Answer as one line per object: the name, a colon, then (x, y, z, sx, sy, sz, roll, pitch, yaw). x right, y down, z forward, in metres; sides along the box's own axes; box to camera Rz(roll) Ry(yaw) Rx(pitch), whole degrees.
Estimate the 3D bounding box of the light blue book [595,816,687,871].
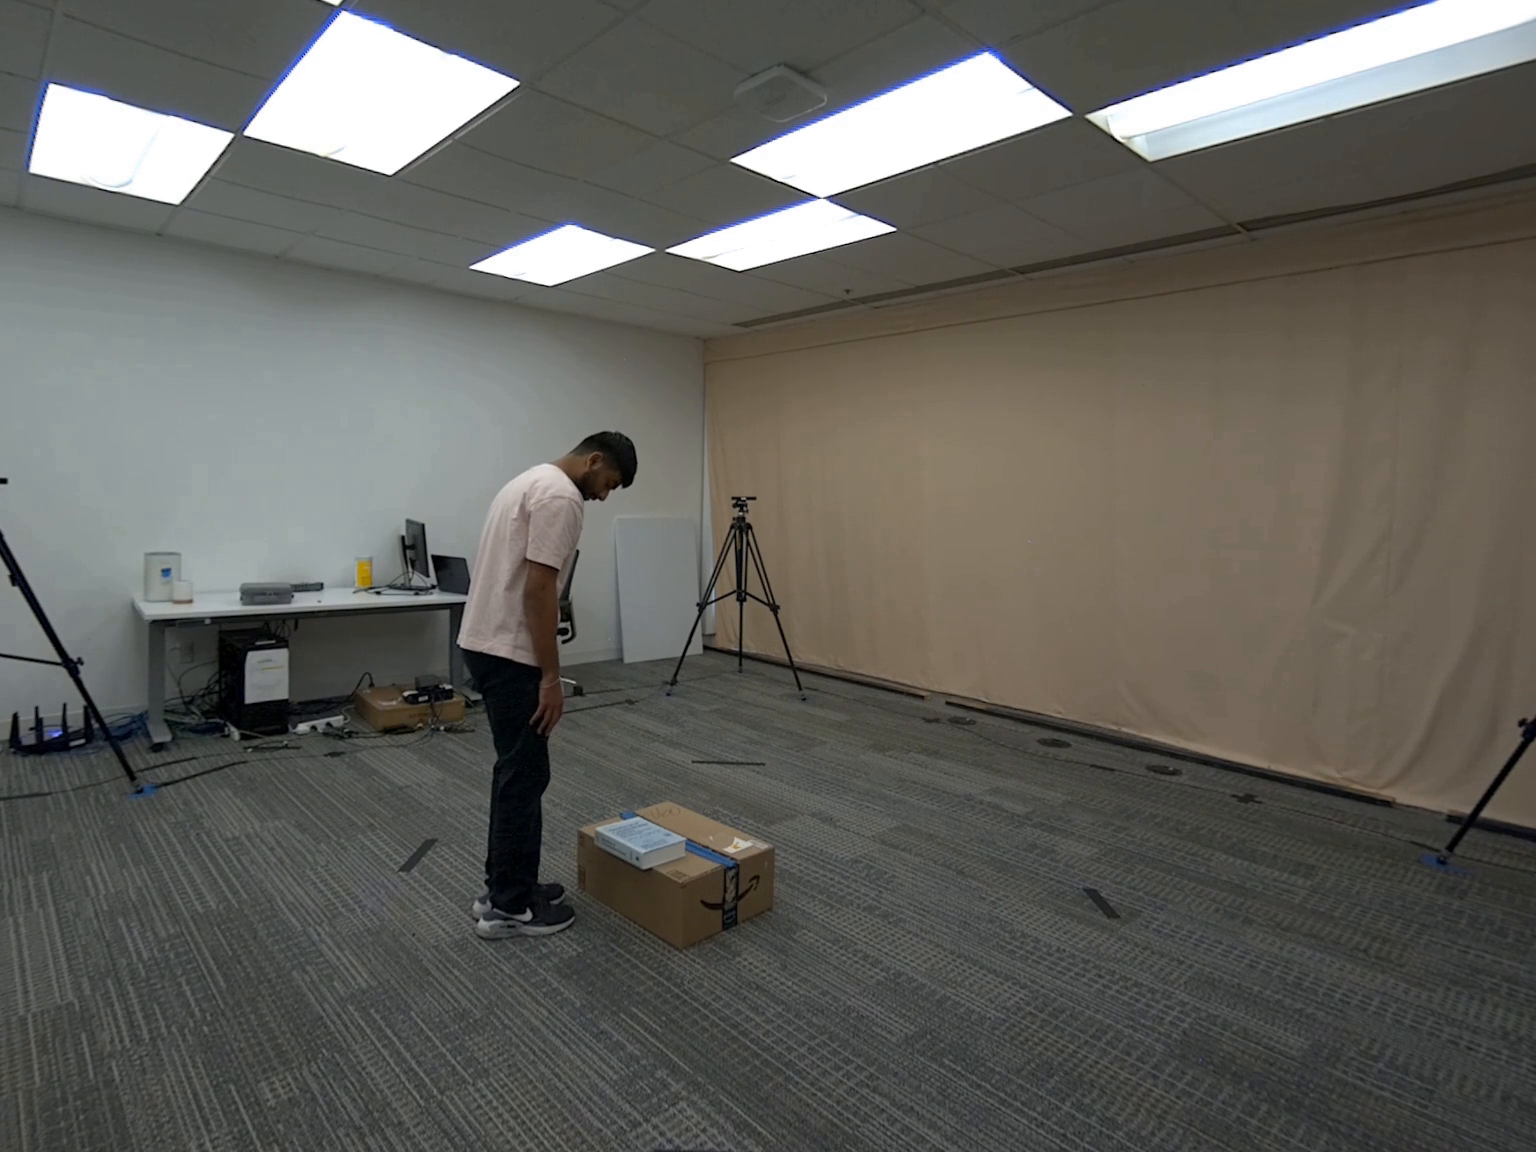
light blue book: (-0.427, 0.887, 2.800, 0.268, 0.059, 0.187, 6, 5, 45)
